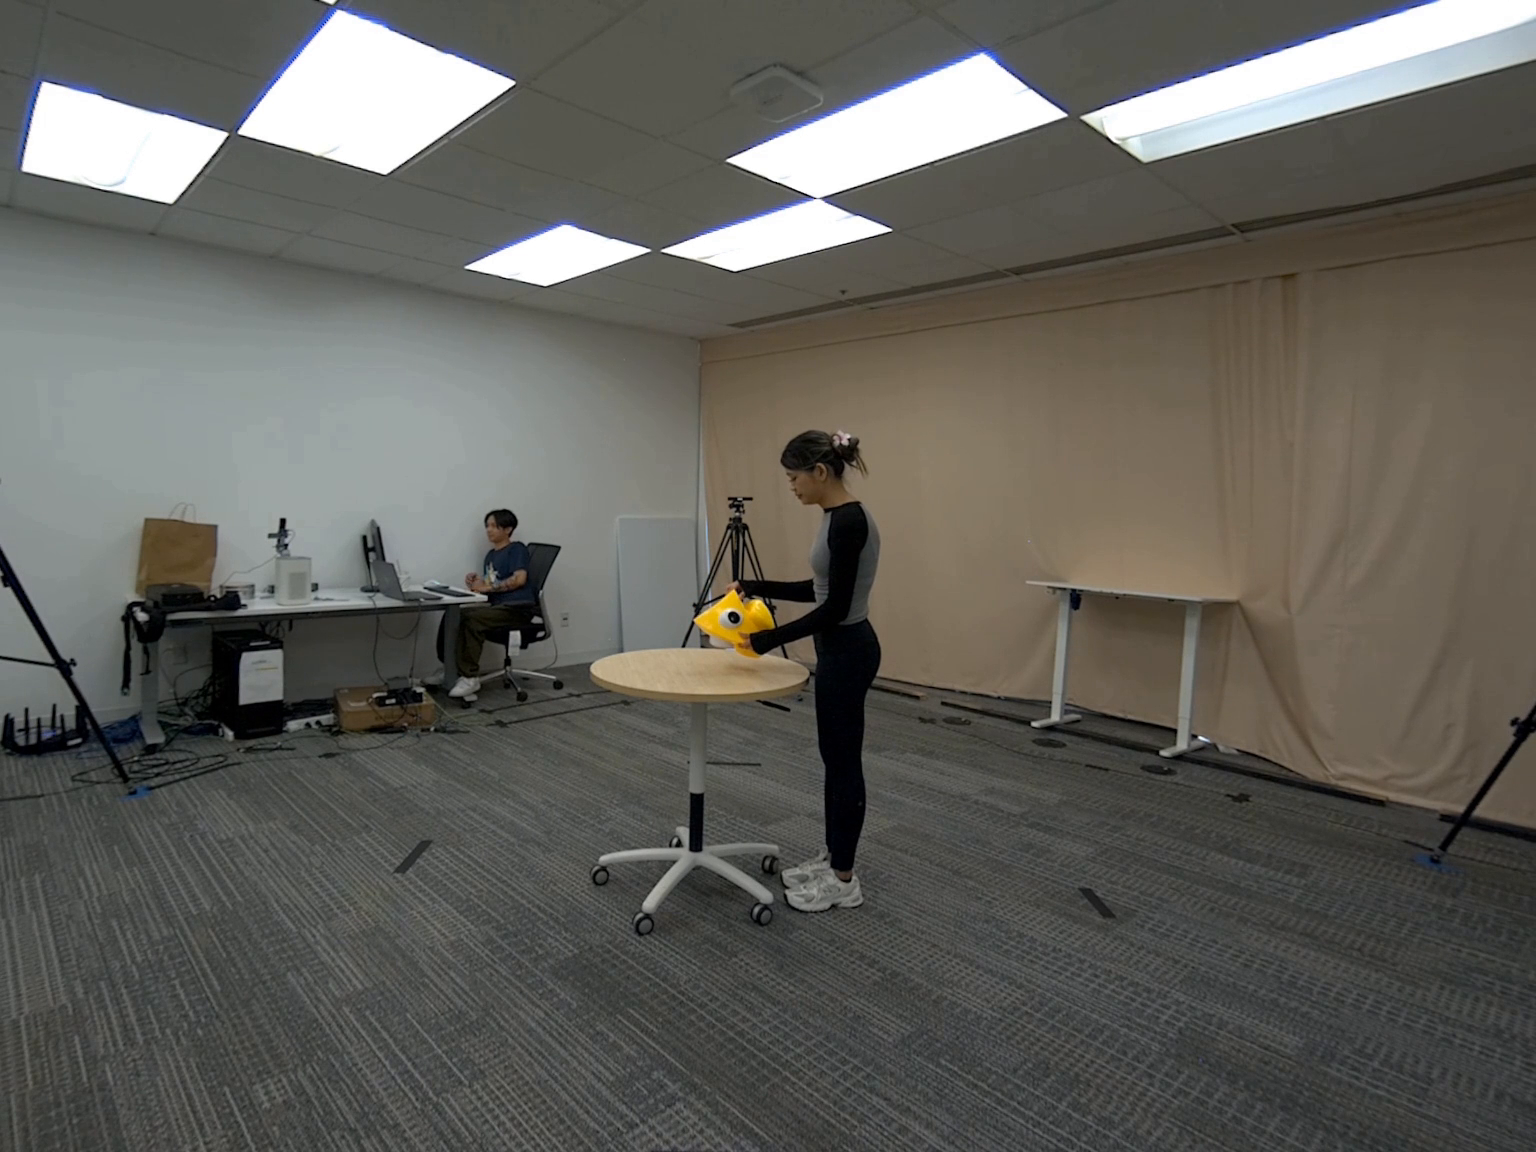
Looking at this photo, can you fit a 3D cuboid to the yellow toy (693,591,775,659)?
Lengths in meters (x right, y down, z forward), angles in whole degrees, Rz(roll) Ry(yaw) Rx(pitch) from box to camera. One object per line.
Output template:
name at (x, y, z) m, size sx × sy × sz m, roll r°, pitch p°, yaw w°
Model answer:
yellow toy at (-0.141, 0.181, 2.929) m, size 0.225 × 0.203 × 0.199 m, roll -3°, pitch 40°, yaw -40°
